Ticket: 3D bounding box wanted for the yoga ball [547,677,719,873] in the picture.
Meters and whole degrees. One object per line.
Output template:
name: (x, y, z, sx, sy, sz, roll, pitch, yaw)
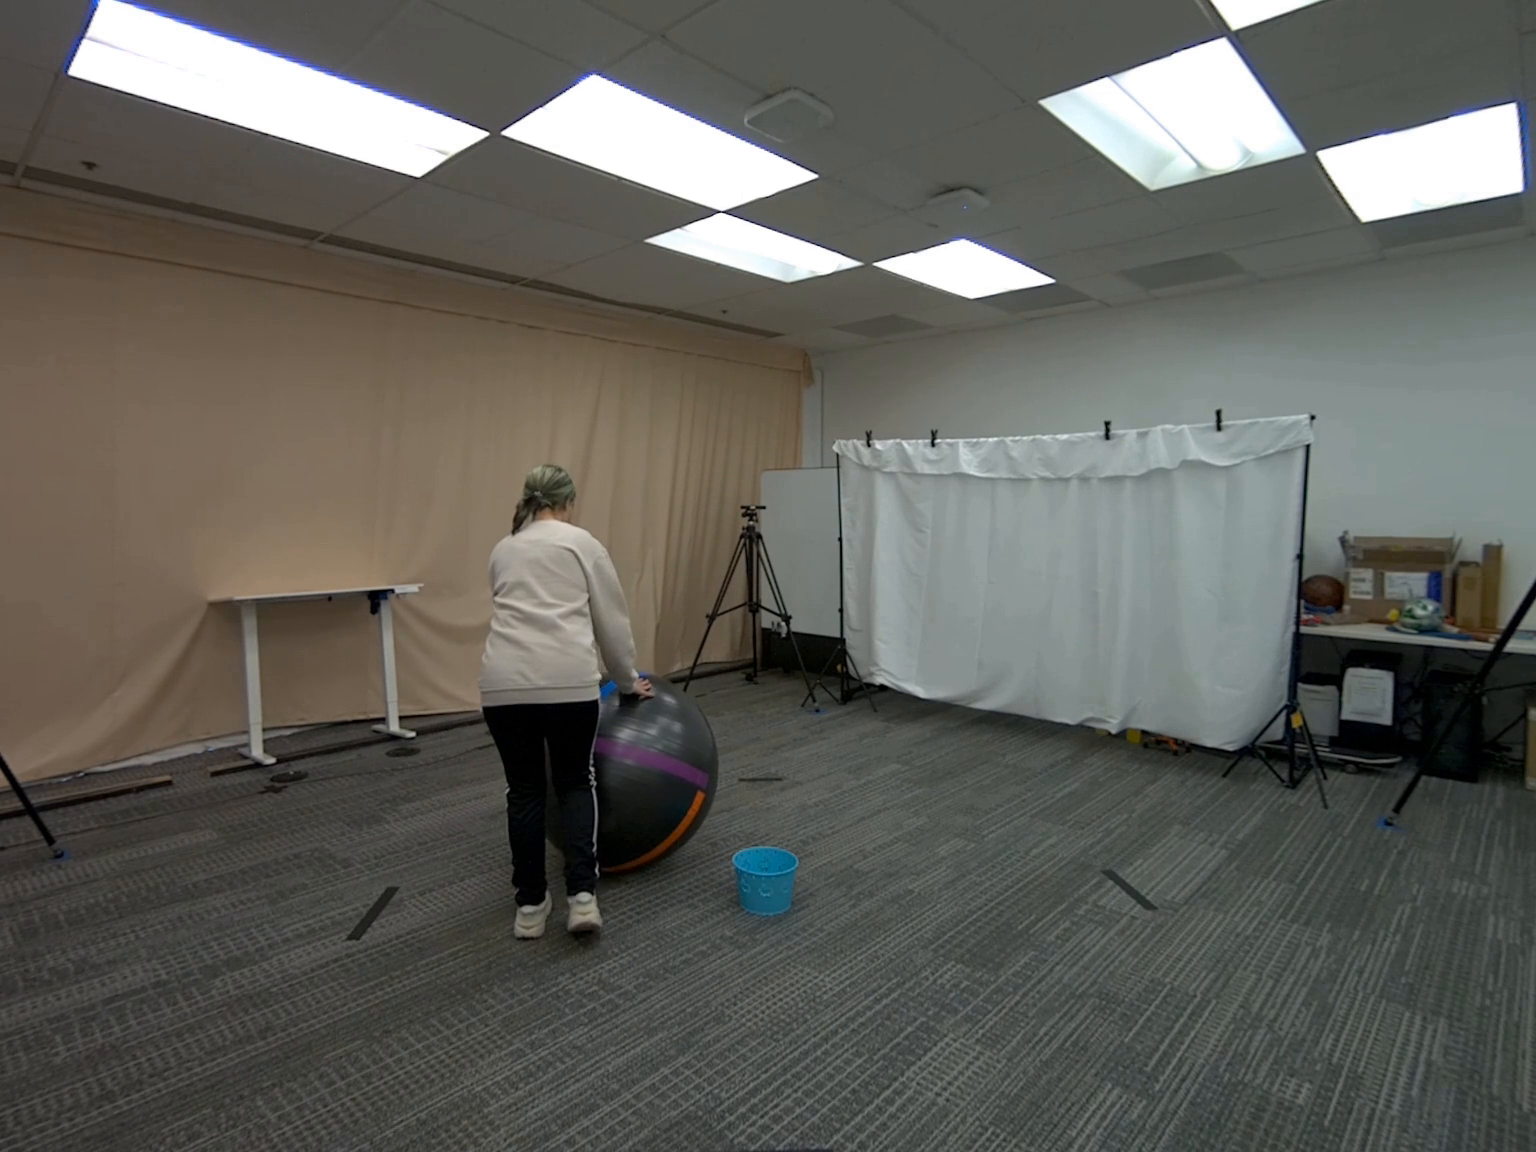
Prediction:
yoga ball: (-0.579, 0.764, 3.308, 0.757, 0.756, 0.760, 0, 4, -2)
